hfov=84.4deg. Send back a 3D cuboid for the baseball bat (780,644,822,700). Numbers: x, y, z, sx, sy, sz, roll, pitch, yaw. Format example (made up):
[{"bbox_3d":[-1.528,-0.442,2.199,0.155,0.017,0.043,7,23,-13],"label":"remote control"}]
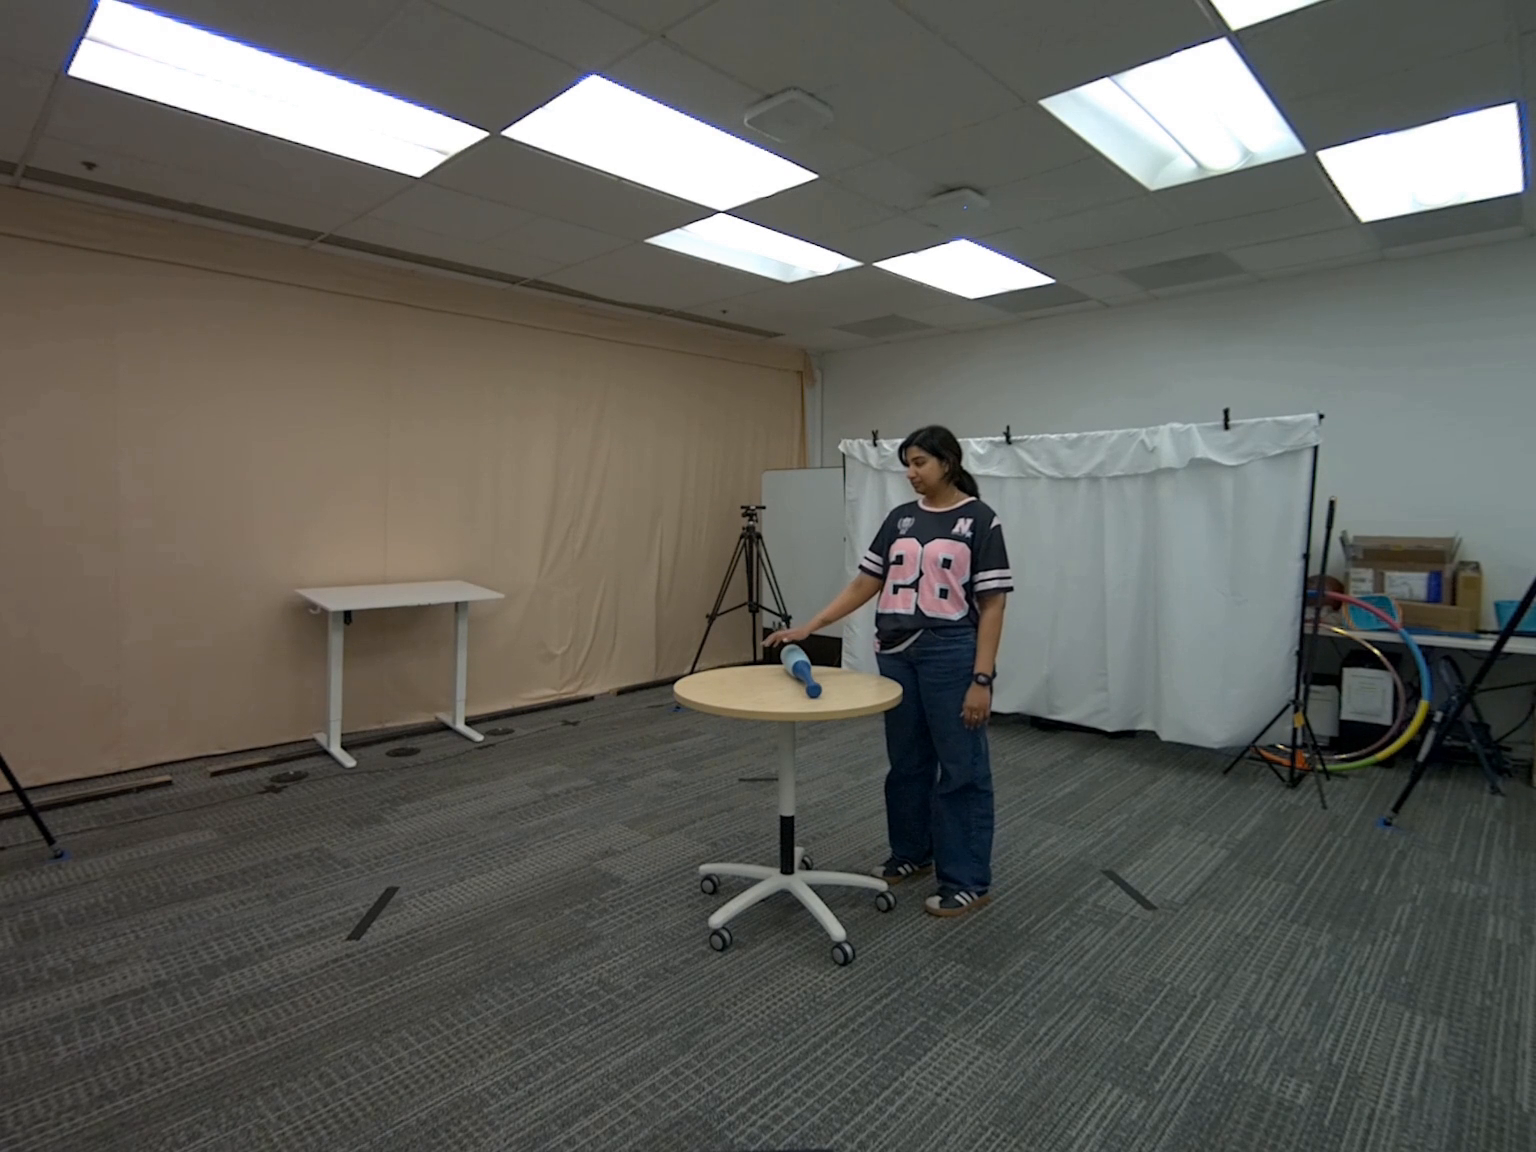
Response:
[{"bbox_3d":[0.125,0.332,2.899,0.088,0.089,0.549,-1,6,-9],"label":"baseball bat"}]
